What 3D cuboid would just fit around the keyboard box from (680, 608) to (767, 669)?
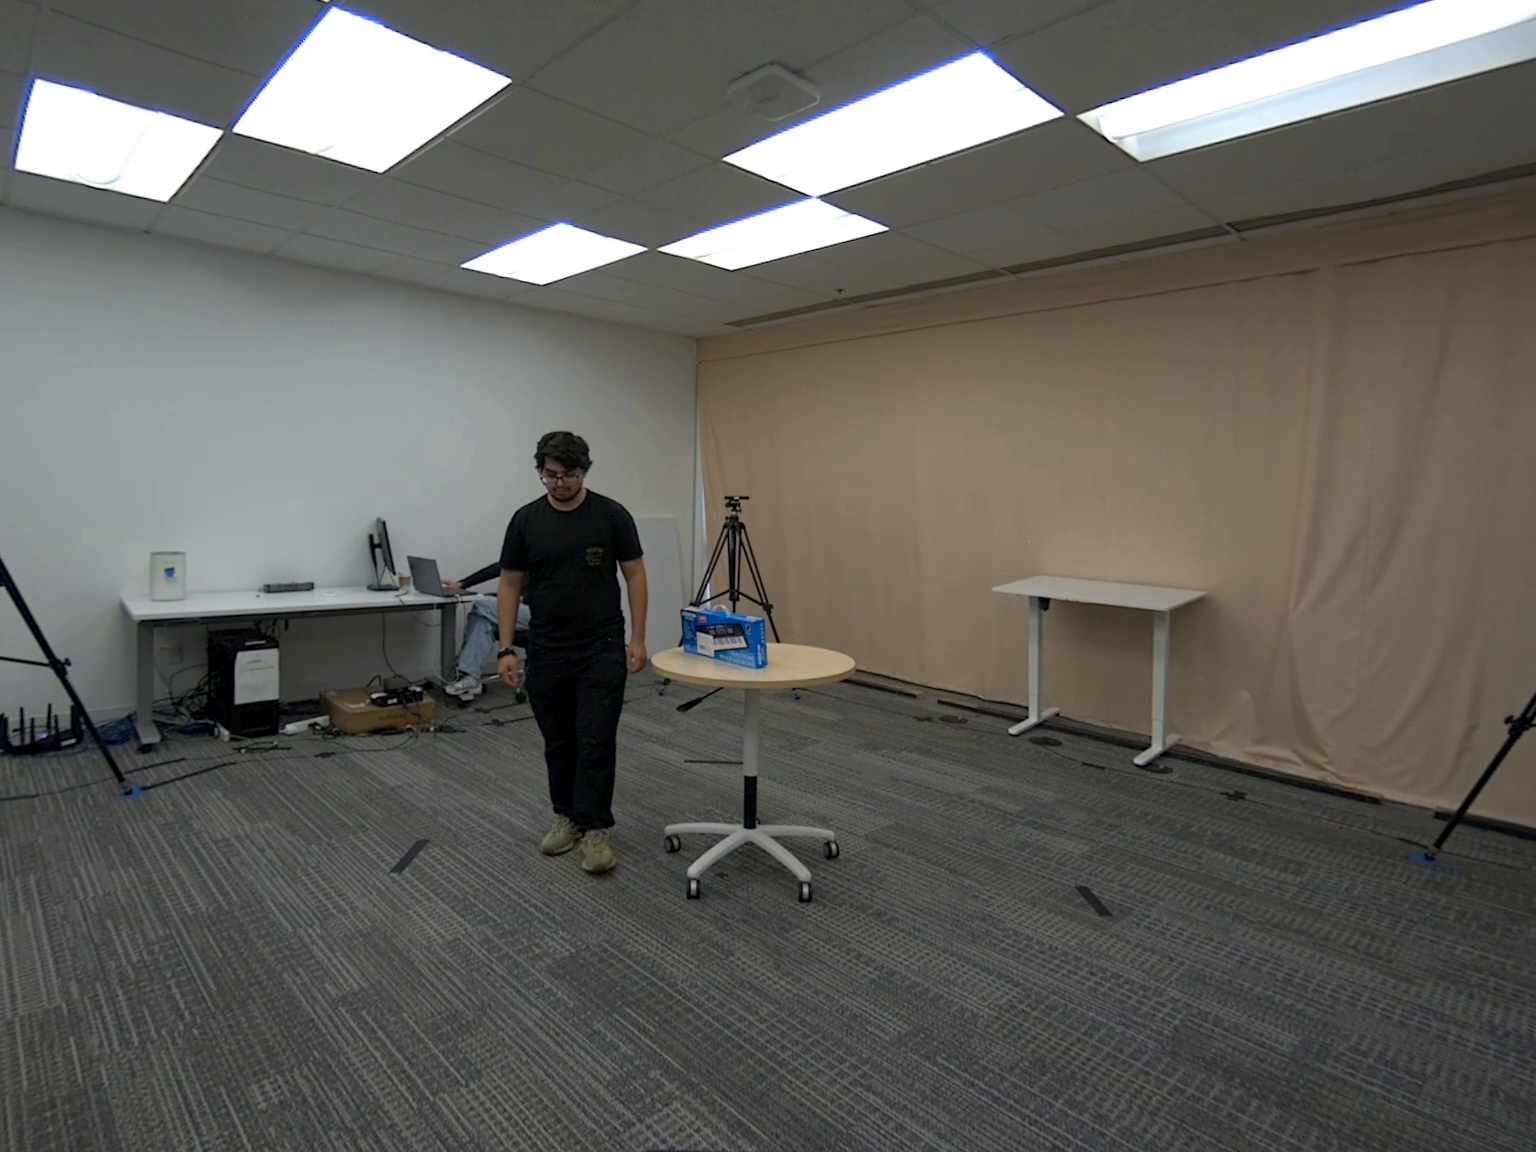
[{"bbox_3d":[-0.178,0.228,3.165,0.058,0.175,0.448,-9,9,-40],"label":"keyboard box"}]
